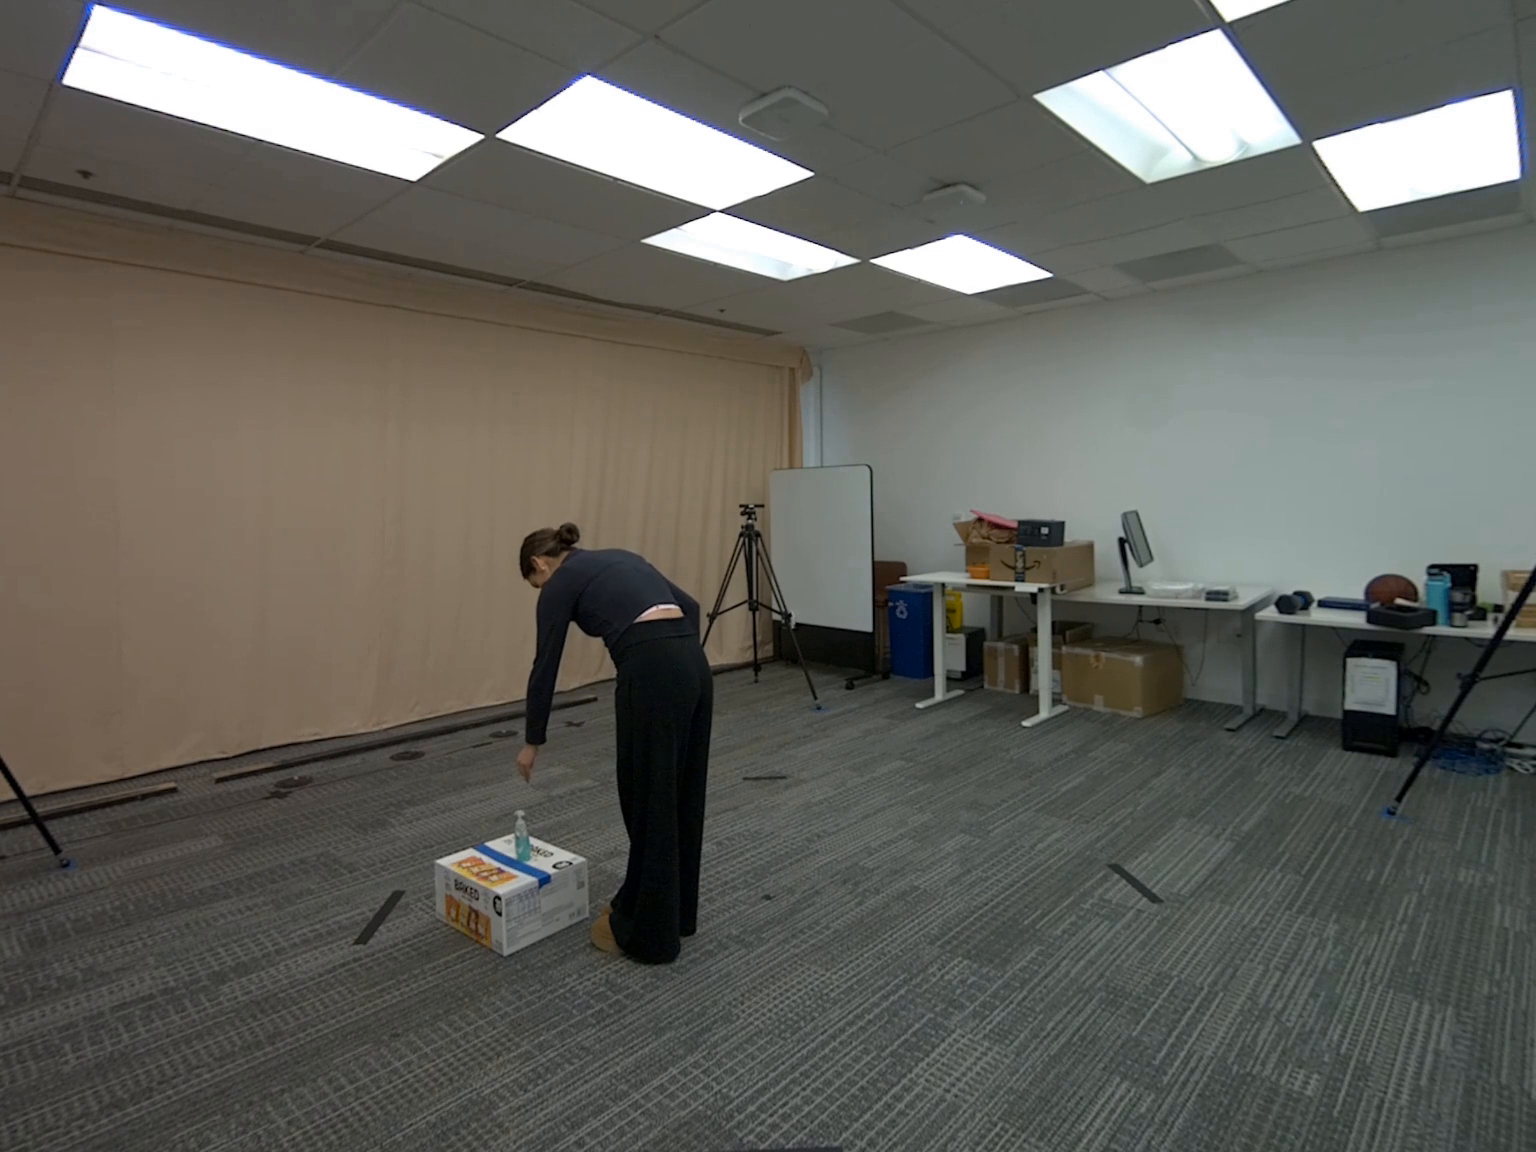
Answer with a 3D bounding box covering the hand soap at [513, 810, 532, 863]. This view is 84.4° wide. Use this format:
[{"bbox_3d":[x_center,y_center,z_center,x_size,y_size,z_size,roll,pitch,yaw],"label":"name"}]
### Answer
[{"bbox_3d":[-0.843,0.889,2.890,0.042,0.168,0.087,-7,3,-43],"label":"hand soap"}]
